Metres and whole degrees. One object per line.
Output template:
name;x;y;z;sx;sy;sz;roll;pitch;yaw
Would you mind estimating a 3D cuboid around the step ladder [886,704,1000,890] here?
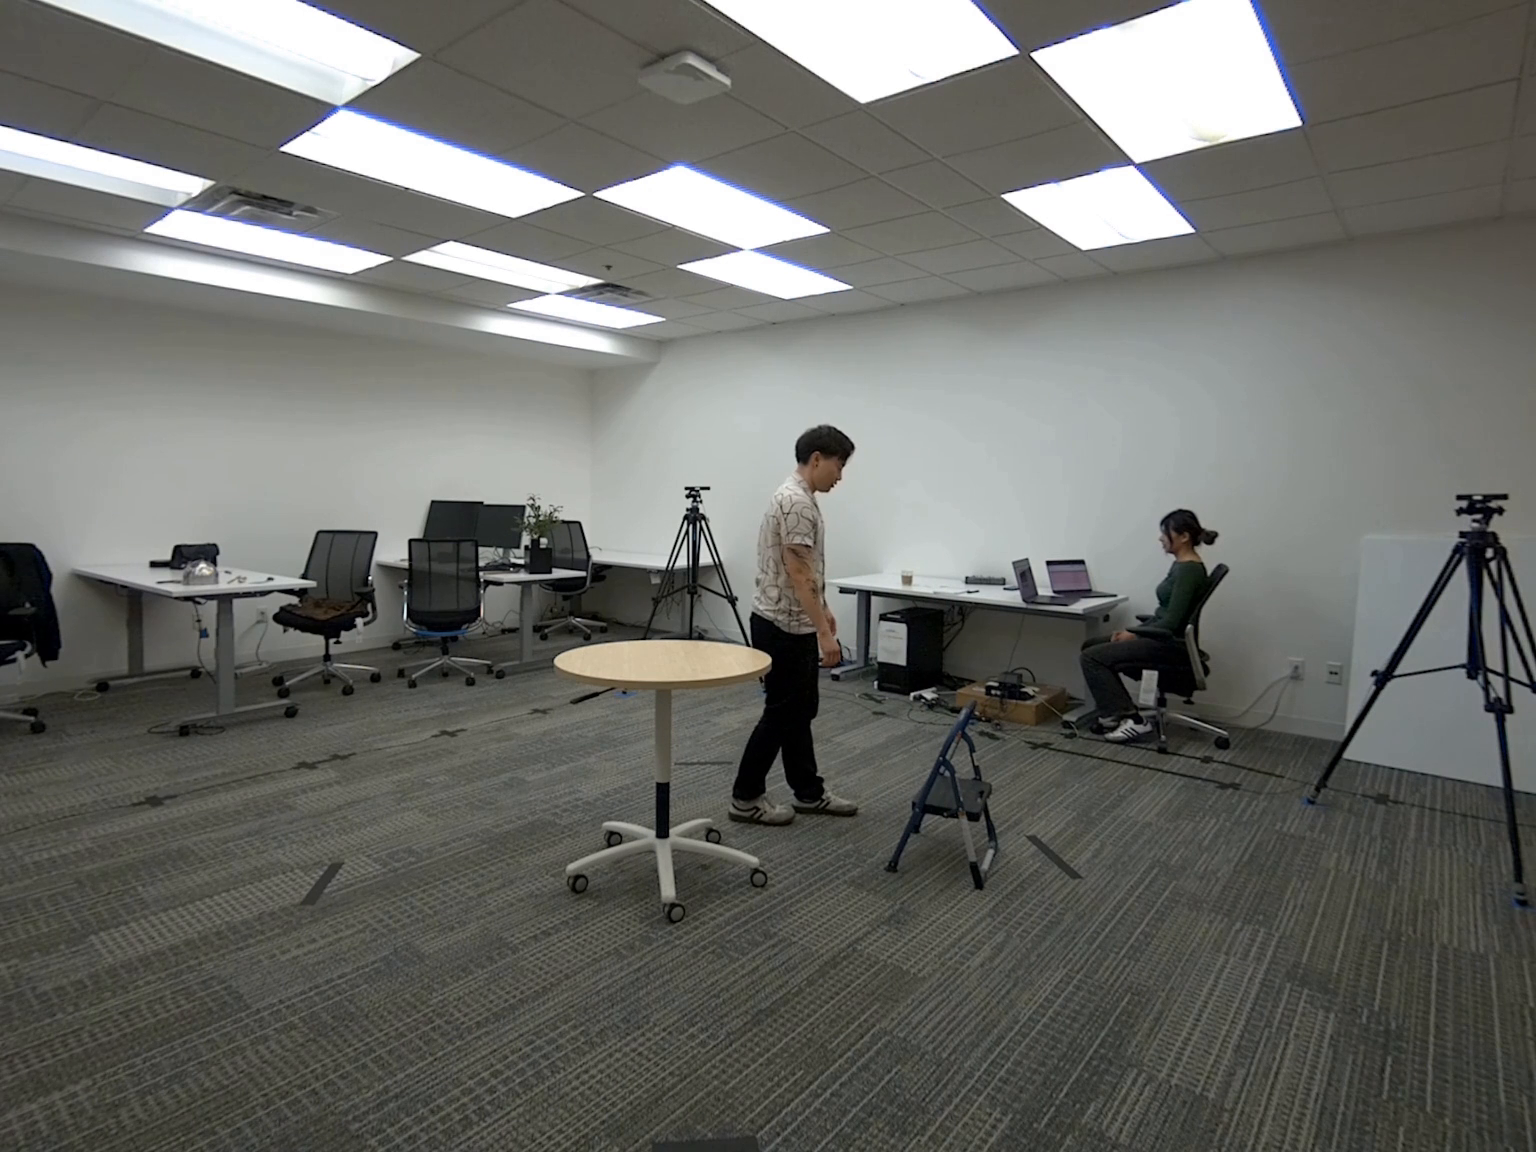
step ladder;0.670;0.768;3.218;0.358;0.604;0.421;3;4;23
